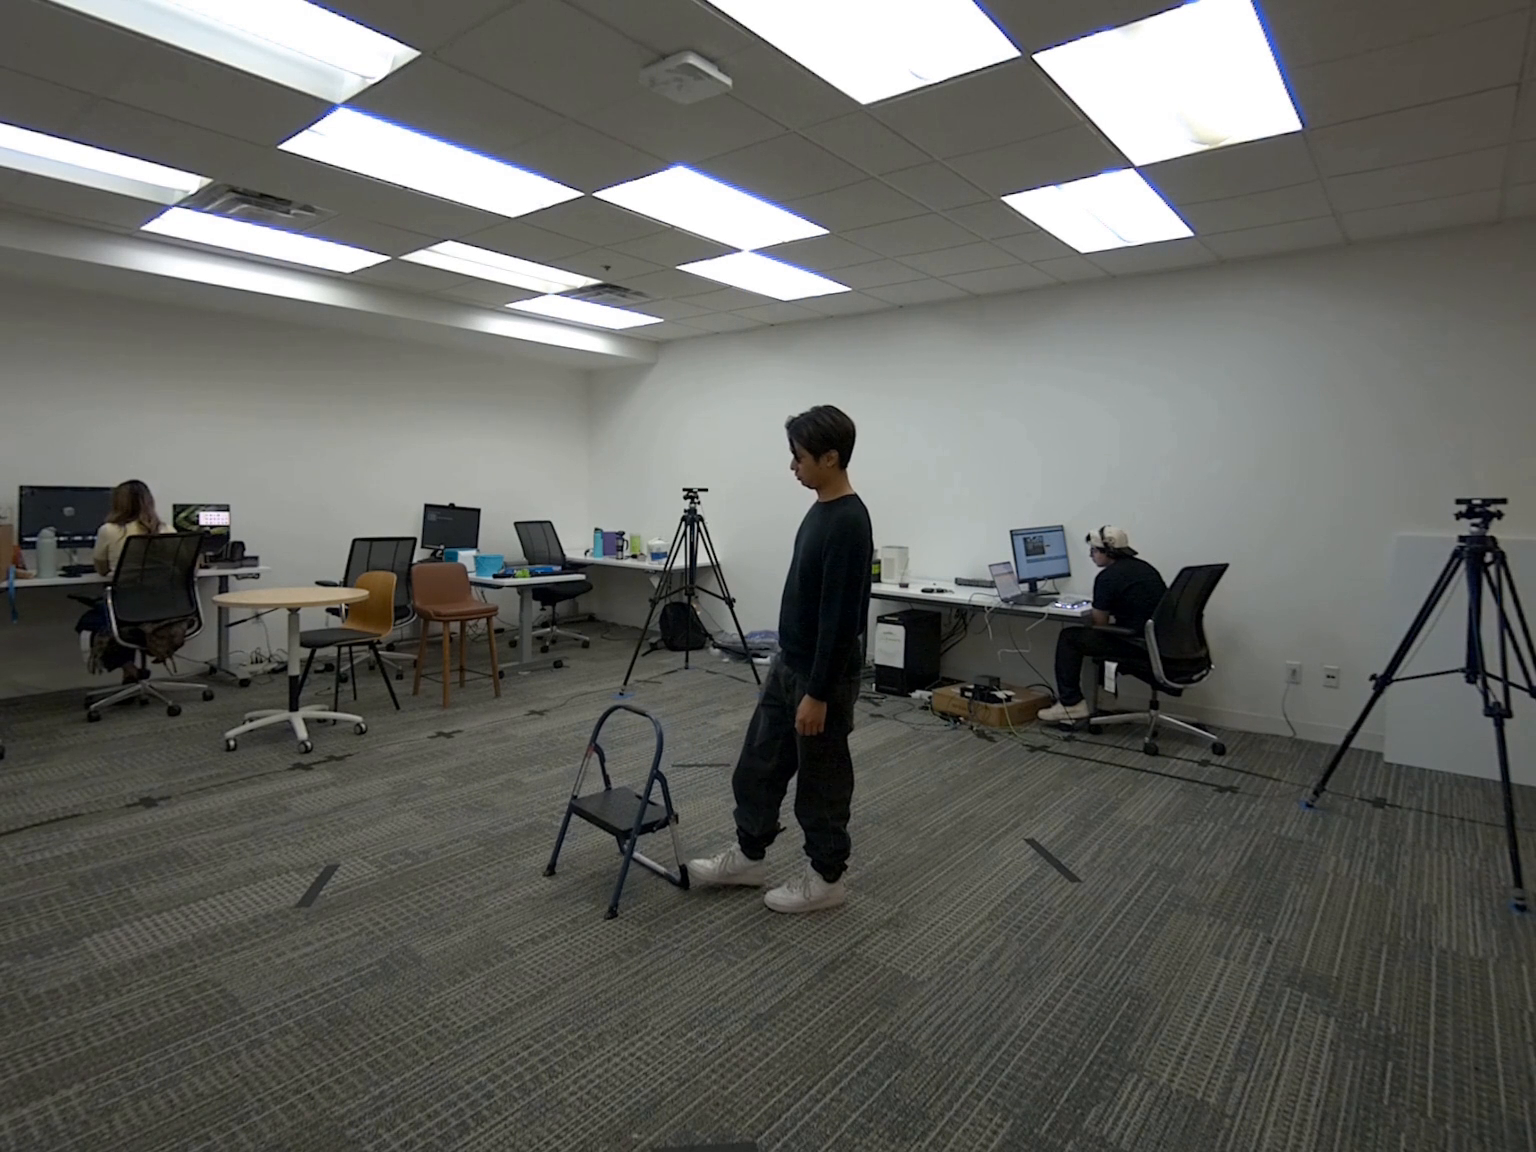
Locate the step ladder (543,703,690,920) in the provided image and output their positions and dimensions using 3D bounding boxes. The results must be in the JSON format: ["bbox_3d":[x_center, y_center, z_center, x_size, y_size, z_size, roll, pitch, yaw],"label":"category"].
[{"bbox_3d":[-0.538,0.772,2.984,0.338,0.604,0.445,-2,4,-44],"label":"step ladder"}]
